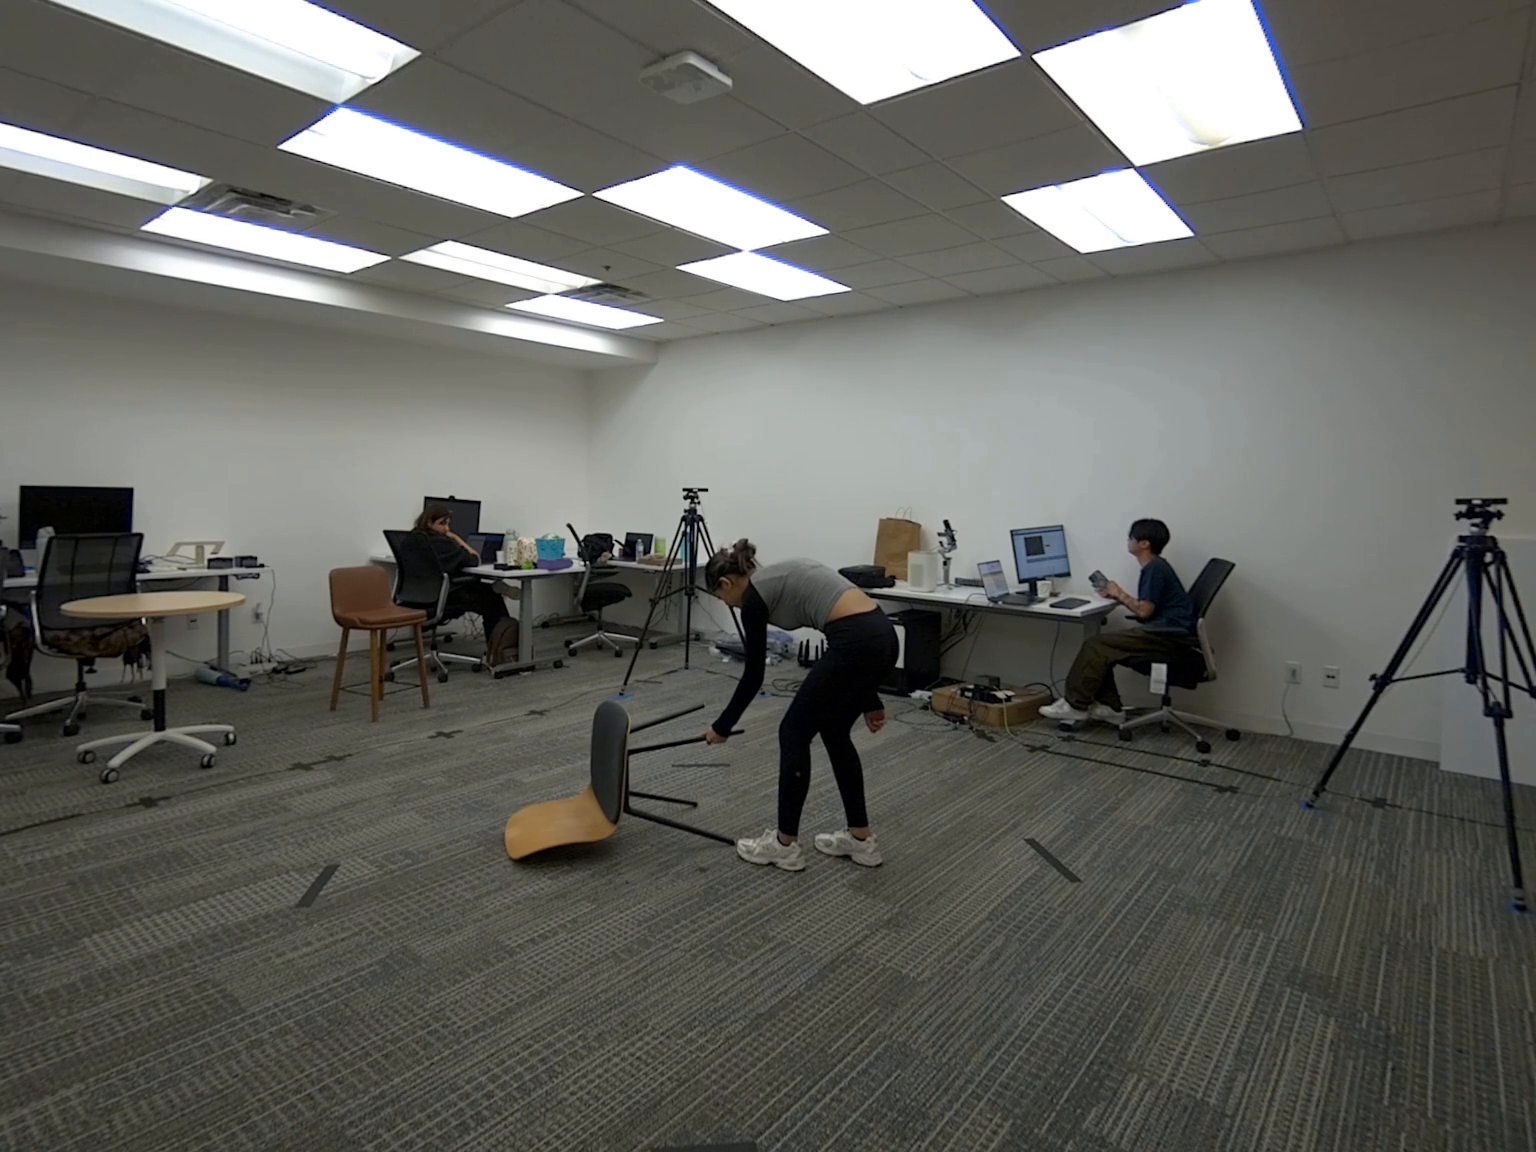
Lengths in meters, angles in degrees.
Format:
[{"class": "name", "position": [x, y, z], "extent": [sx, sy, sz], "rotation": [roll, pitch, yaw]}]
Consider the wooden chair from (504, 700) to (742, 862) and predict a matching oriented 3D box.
[{"class": "wooden chair", "position": [-0.604, 0.775, 3.371], "extent": [0.860, 0.521, 0.490], "rotation": [-2, 5, -21]}]
